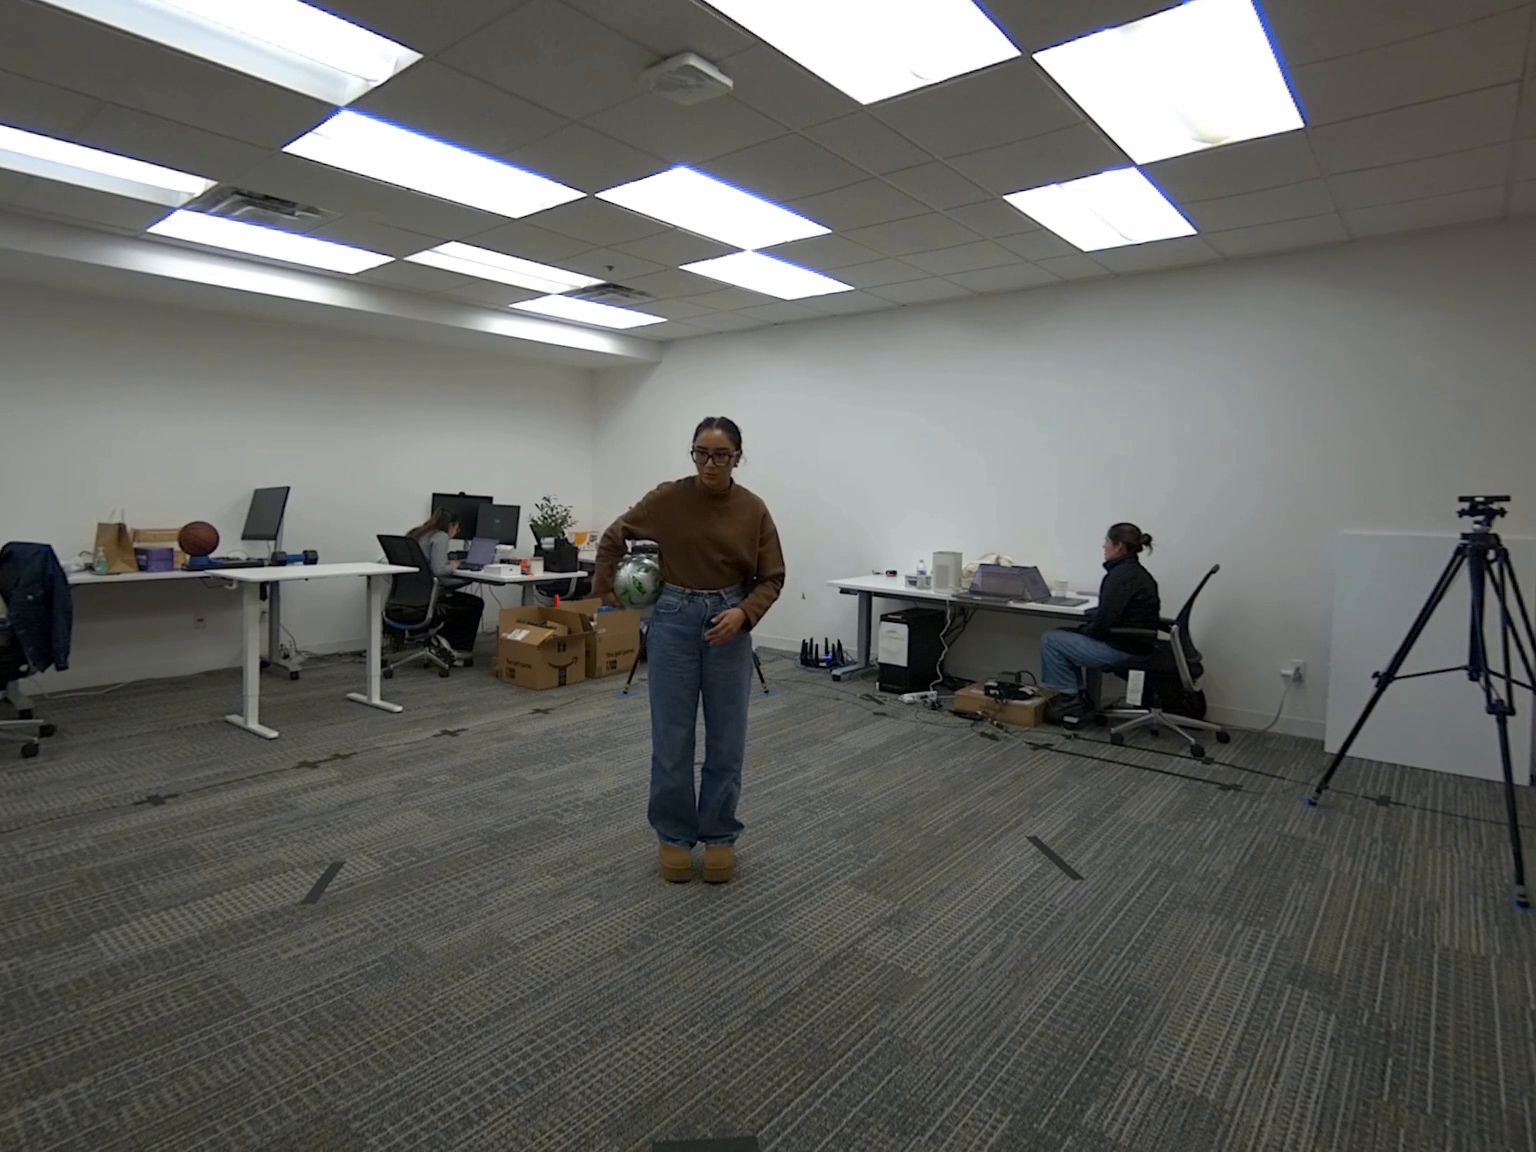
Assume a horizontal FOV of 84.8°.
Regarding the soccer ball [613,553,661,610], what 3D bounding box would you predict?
[{"bbox_3d":[-0.480,0.025,3.086,0.187,0.187,0.188,1,4,-2],"label":"soccer ball"}]
